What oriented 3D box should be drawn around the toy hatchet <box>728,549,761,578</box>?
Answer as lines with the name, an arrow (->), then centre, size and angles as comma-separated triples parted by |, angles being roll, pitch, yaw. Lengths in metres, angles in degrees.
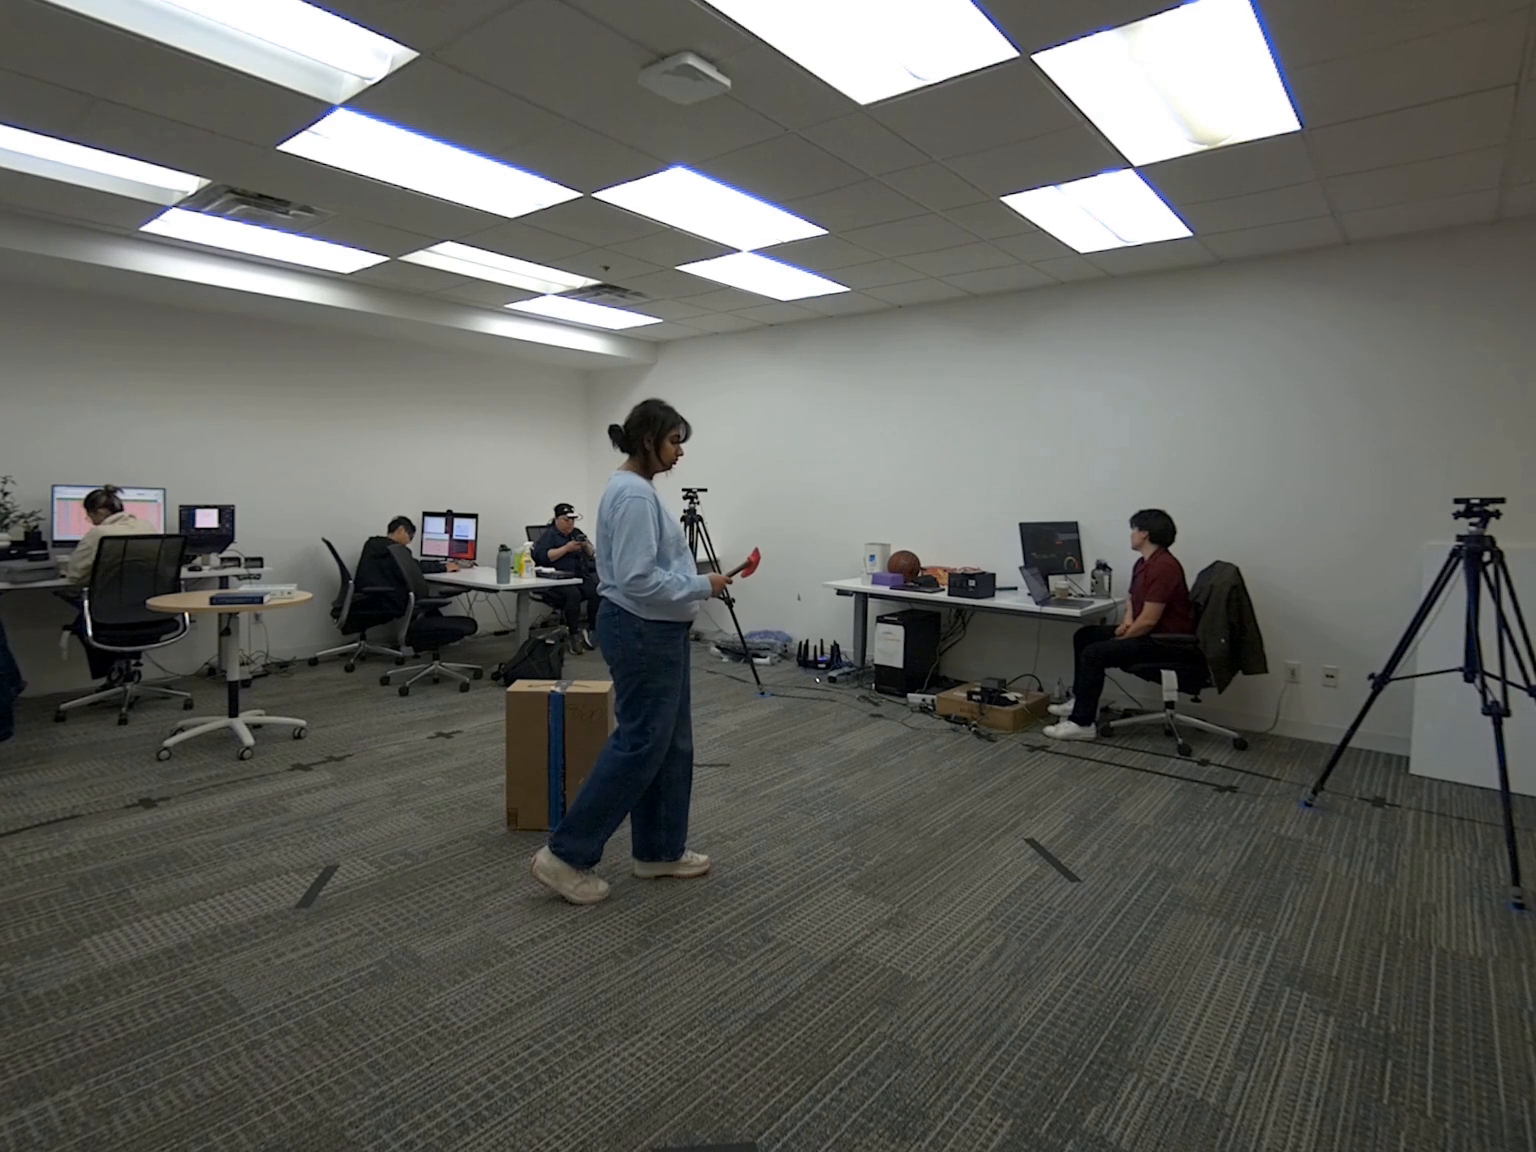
toy hatchet -> -0.135, 0.012, 2.974 | 0.030, 0.269, 0.127 | 42, -20, 25
